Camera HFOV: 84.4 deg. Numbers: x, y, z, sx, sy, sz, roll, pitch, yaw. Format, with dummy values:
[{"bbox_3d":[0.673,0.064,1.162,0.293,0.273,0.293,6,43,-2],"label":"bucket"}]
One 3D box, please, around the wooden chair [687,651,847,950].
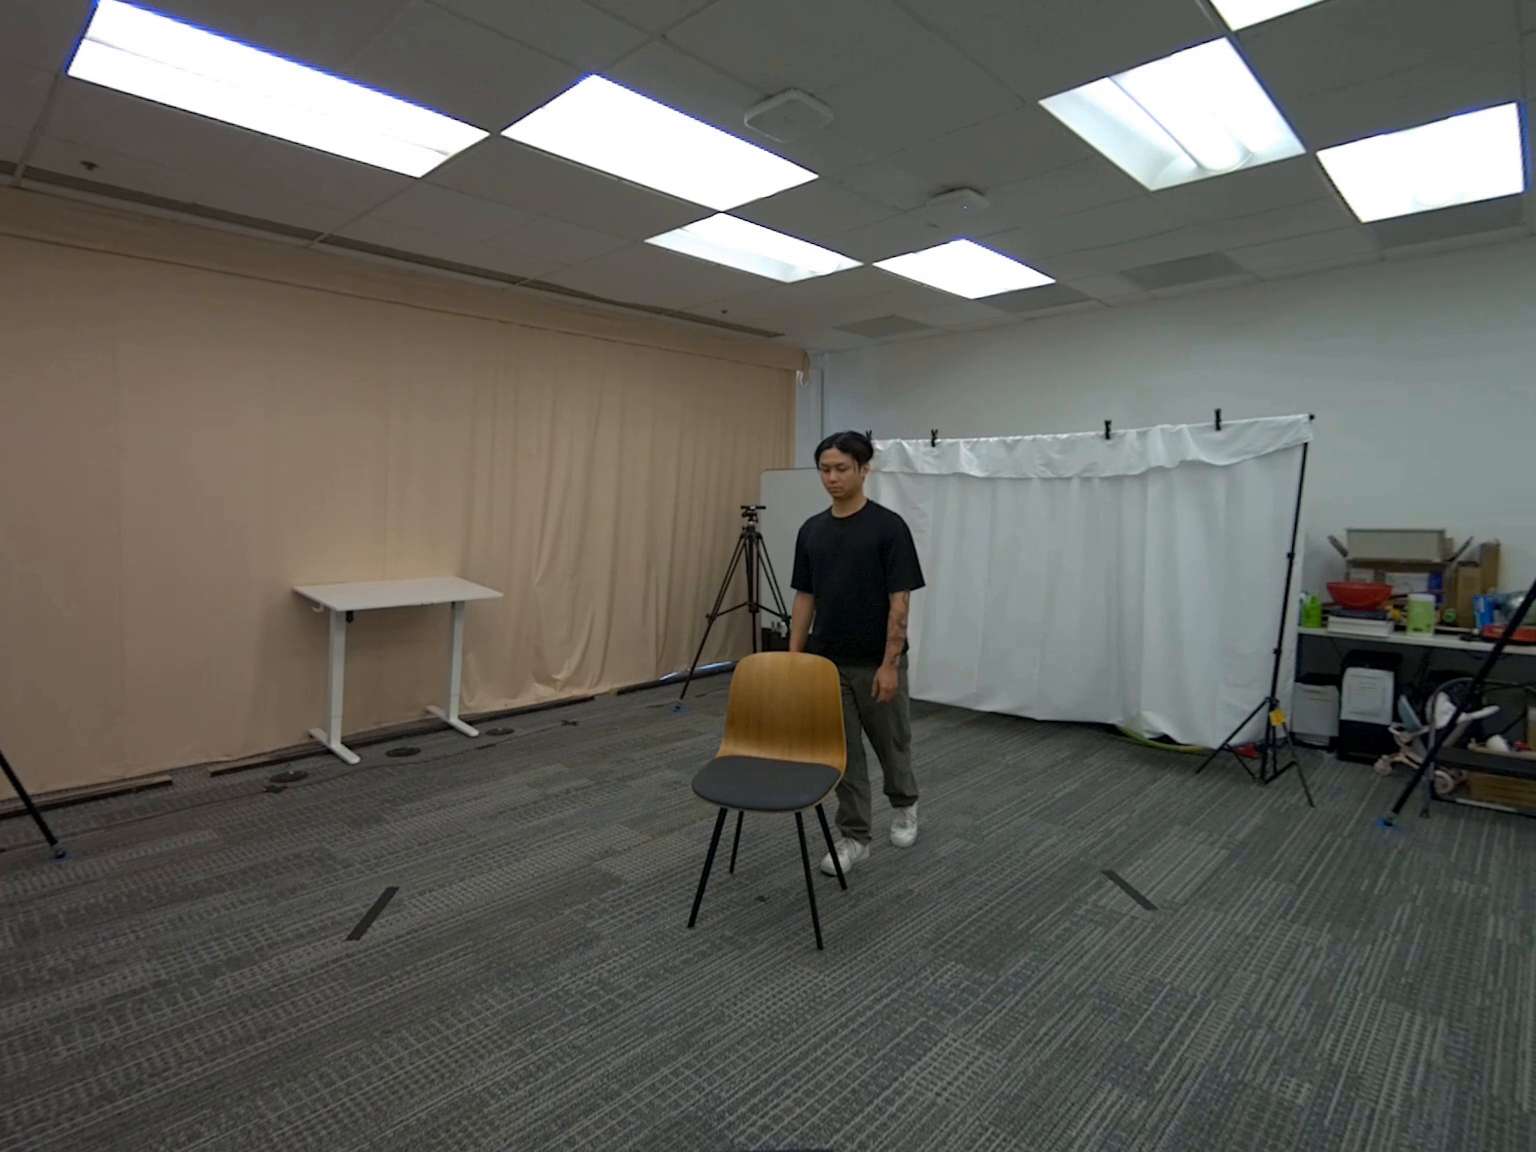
[{"bbox_3d":[0.013,0.723,2.880,0.488,0.878,0.513,1,-1,18],"label":"wooden chair"}]
